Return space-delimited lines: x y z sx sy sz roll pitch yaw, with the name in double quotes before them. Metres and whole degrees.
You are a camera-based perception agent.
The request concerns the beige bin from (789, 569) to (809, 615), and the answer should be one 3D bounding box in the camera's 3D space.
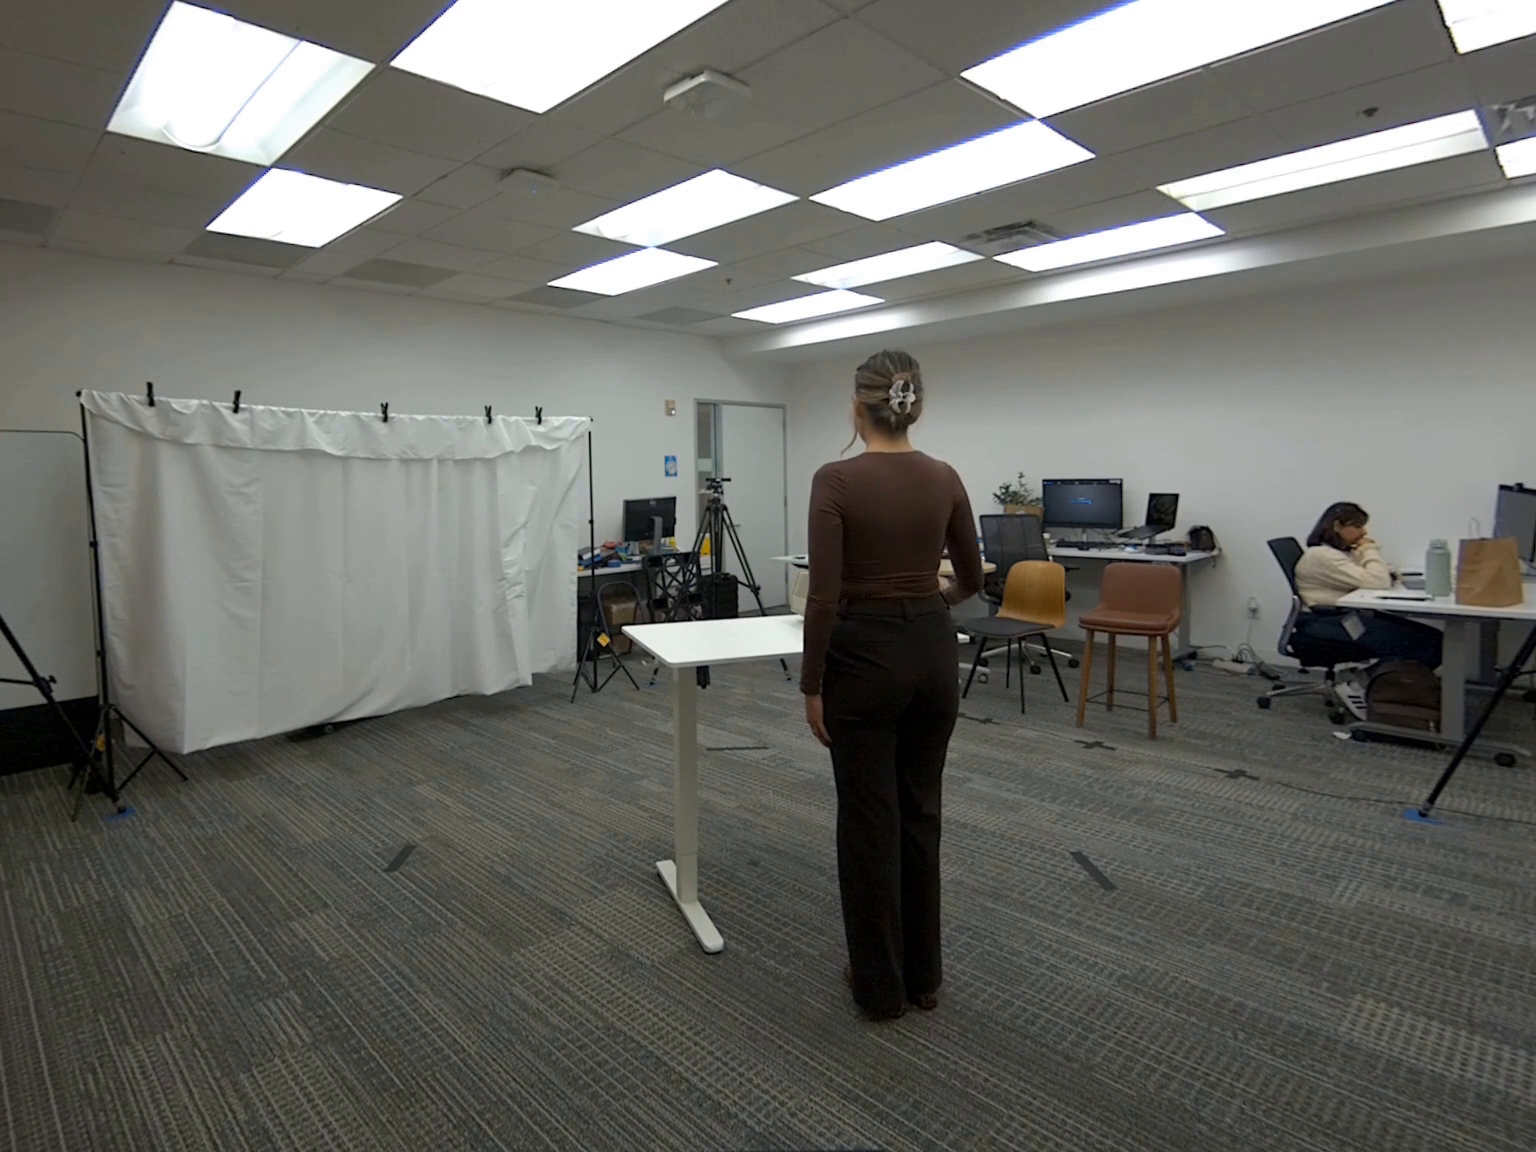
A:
"beige bin" 0.344 0.088 2.924 0.370 0.188 0.432 -1 6 -21
